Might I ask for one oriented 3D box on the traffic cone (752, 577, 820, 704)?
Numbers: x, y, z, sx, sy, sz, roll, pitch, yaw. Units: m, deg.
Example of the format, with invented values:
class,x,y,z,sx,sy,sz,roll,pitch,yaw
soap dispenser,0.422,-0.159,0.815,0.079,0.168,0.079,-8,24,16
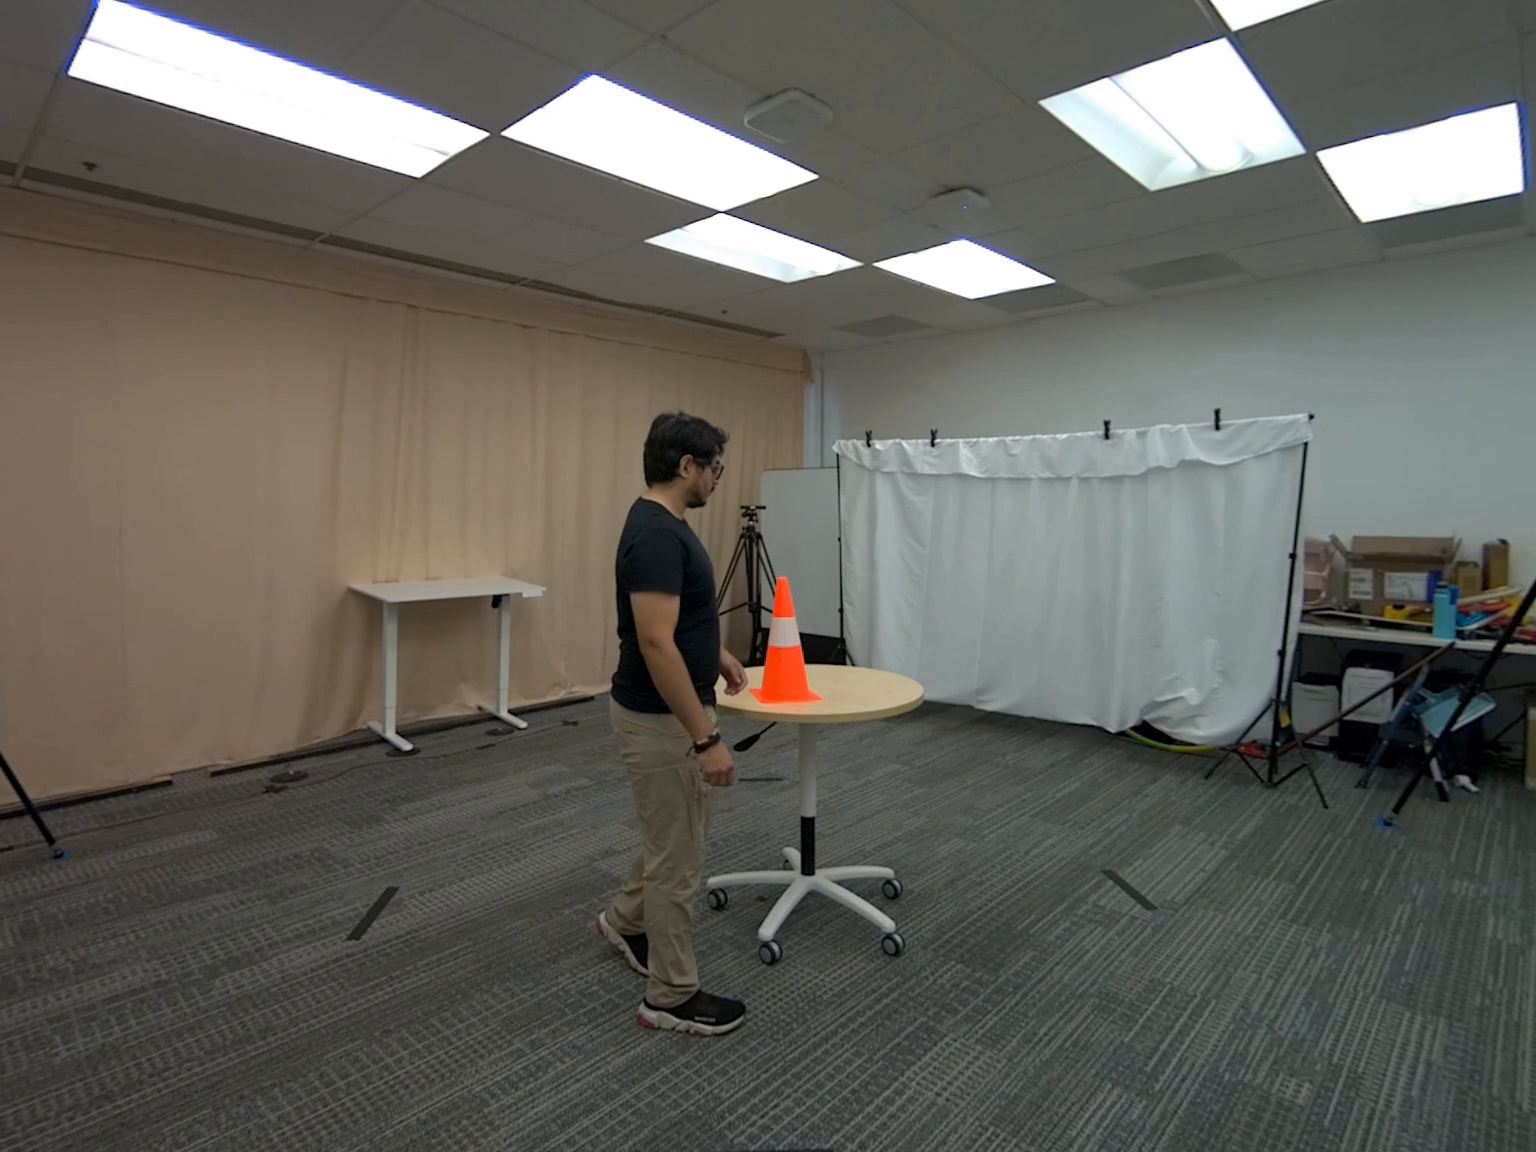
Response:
class,x,y,z,sx,sy,sz,roll,pitch,yaw
traffic cone,0.052,0.197,2.693,0.199,0.383,0.209,-3,3,-20
